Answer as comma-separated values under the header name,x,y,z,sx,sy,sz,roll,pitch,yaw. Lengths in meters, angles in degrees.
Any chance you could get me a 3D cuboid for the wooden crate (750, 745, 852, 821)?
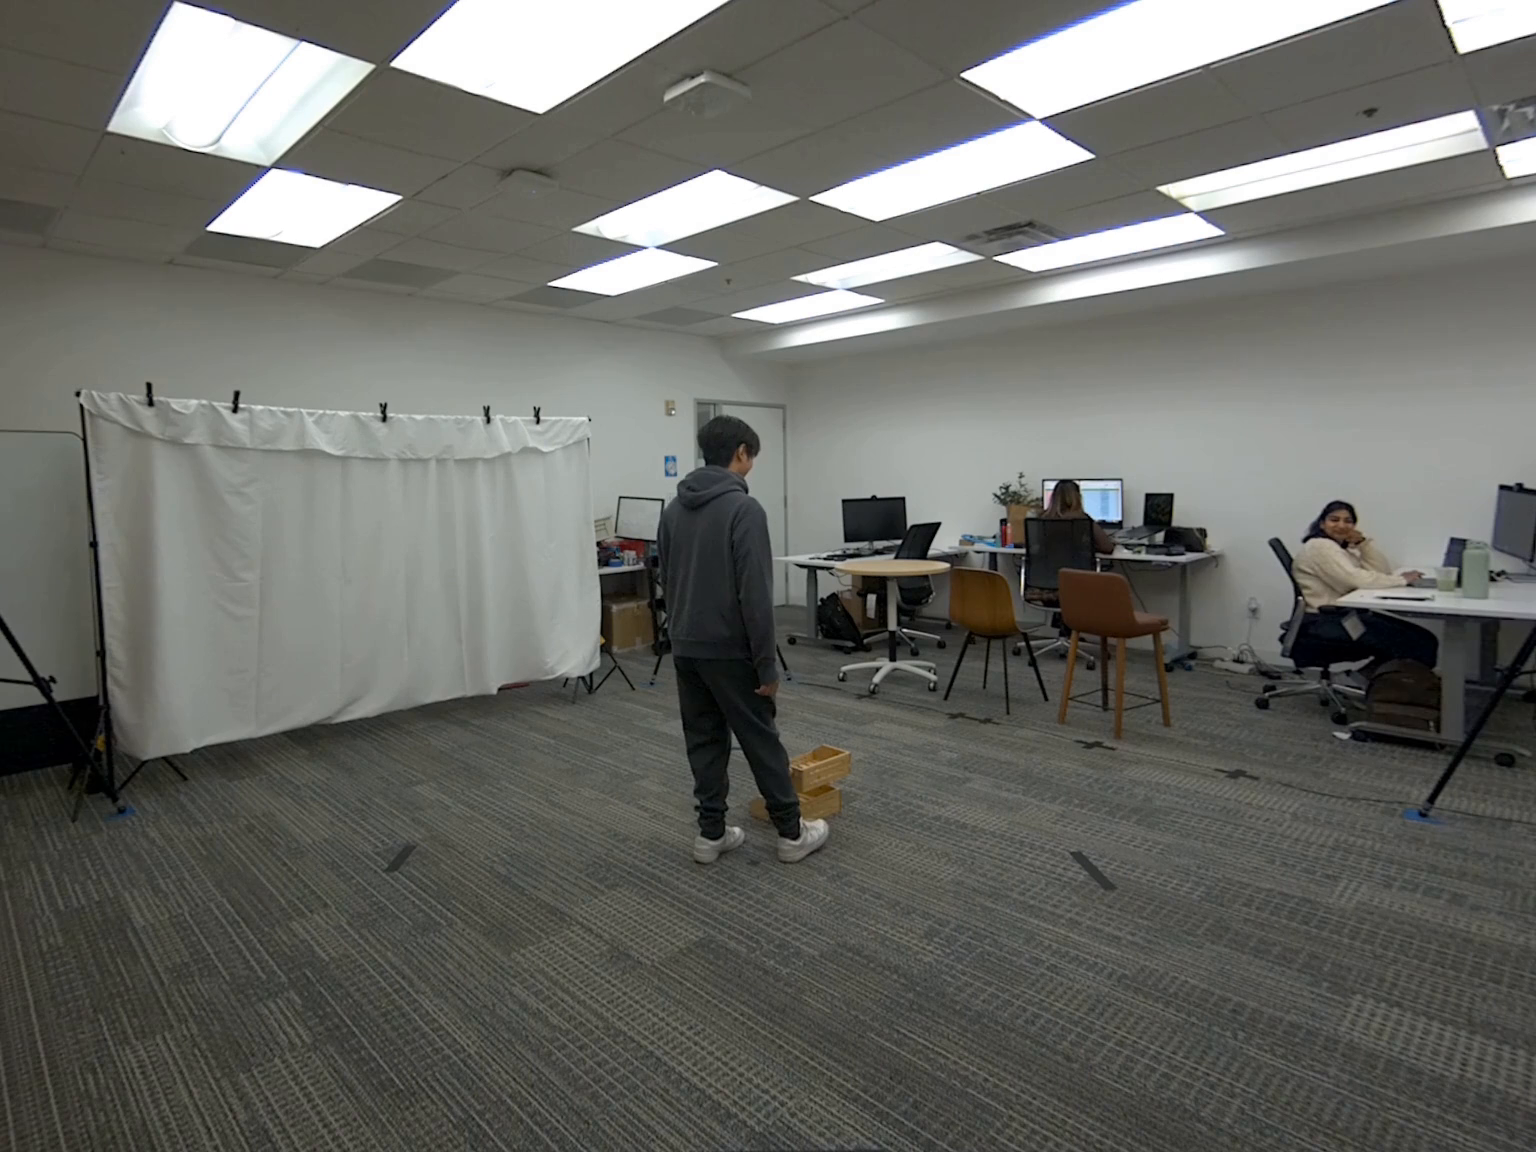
name,x,y,z,sx,sy,sz,roll,pitch,yaw
wooden crate,0.132,0.857,3.550,0.316,0.272,0.311,-6,8,-44
